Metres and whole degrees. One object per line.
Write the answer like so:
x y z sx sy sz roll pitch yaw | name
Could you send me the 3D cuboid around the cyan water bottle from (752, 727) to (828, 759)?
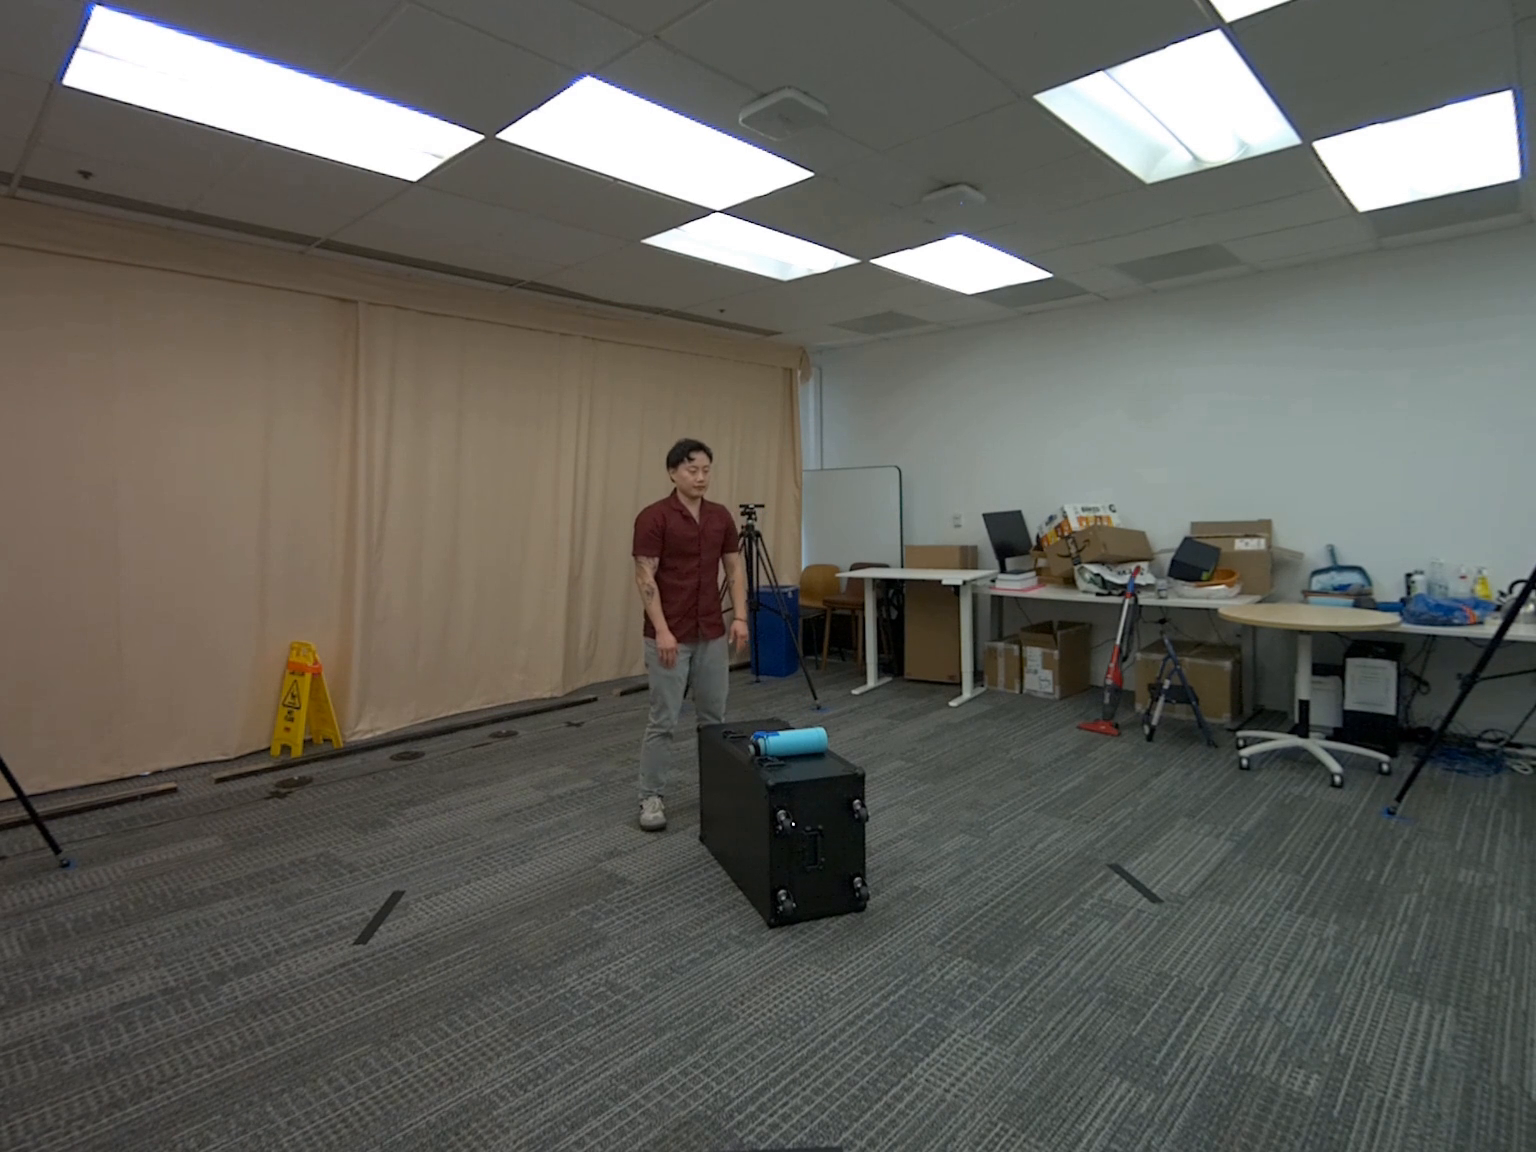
0.072 0.603 3.043 0.280 0.092 0.094 -2 4 -12 | cyan water bottle
